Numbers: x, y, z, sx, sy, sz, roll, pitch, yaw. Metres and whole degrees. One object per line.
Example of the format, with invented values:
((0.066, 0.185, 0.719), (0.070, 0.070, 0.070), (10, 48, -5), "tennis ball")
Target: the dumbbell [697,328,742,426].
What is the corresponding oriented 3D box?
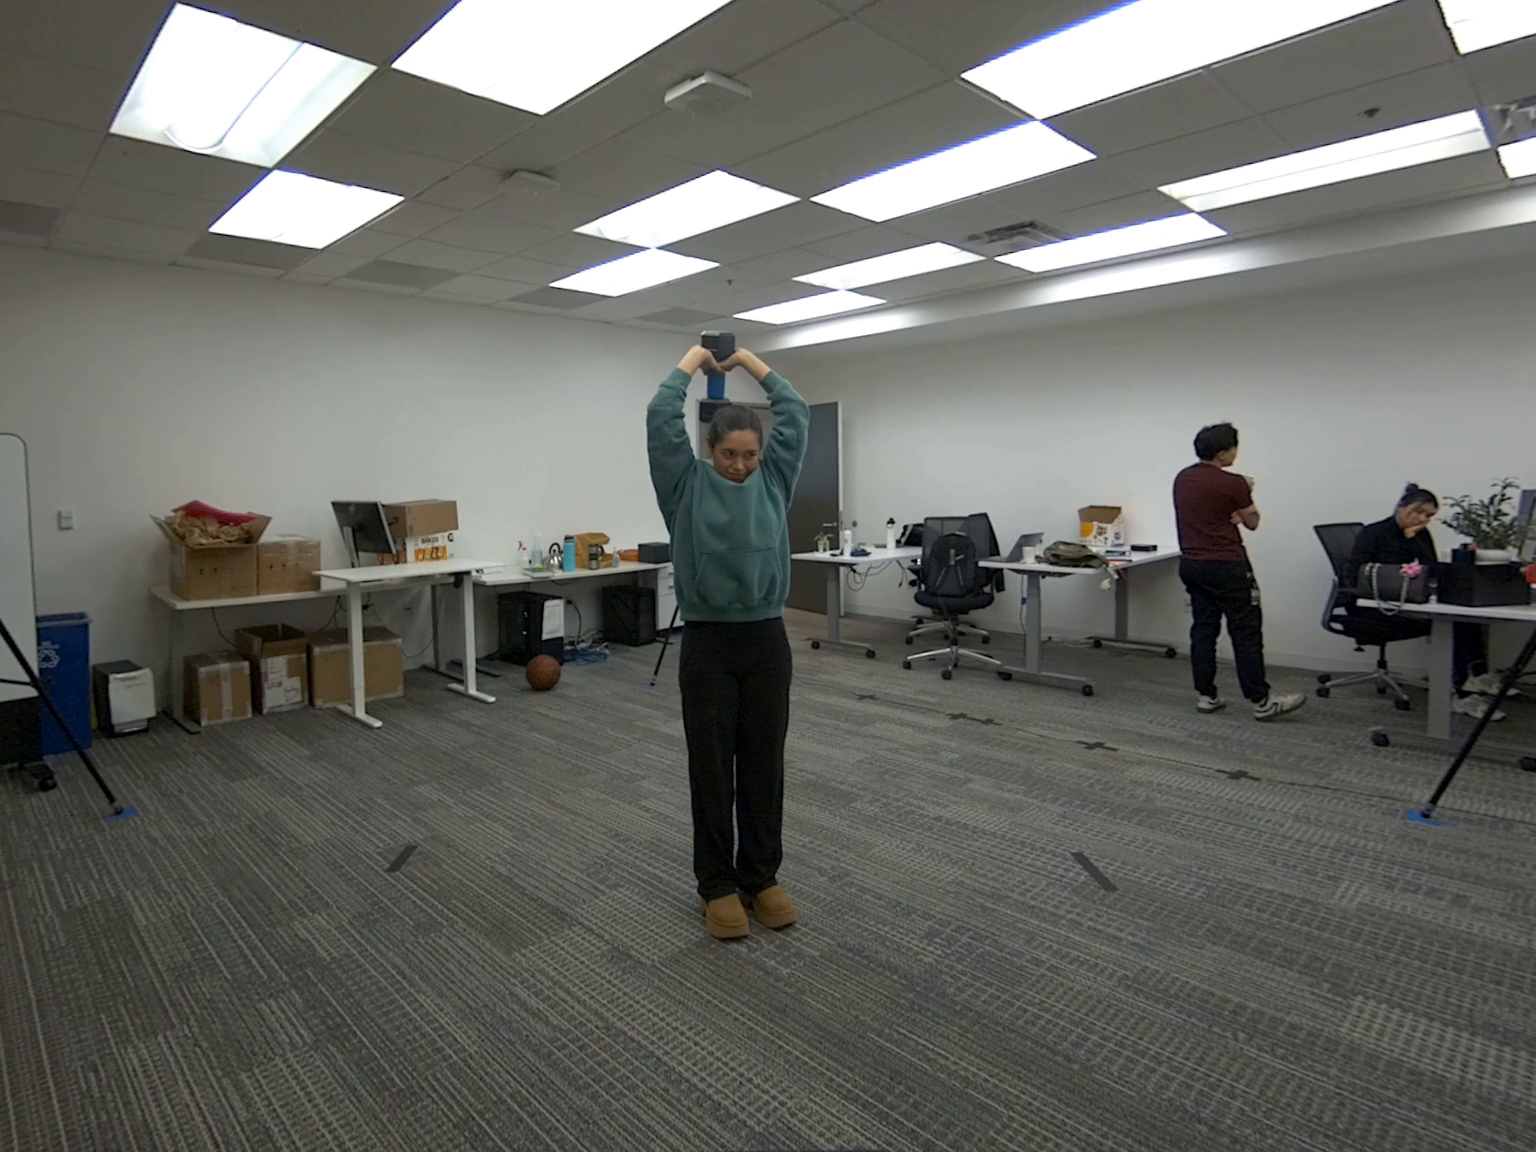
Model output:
((-0.162, -0.647, 2.781), (0.107, 0.289, 0.126), (0, 19, -13), "dumbbell")
